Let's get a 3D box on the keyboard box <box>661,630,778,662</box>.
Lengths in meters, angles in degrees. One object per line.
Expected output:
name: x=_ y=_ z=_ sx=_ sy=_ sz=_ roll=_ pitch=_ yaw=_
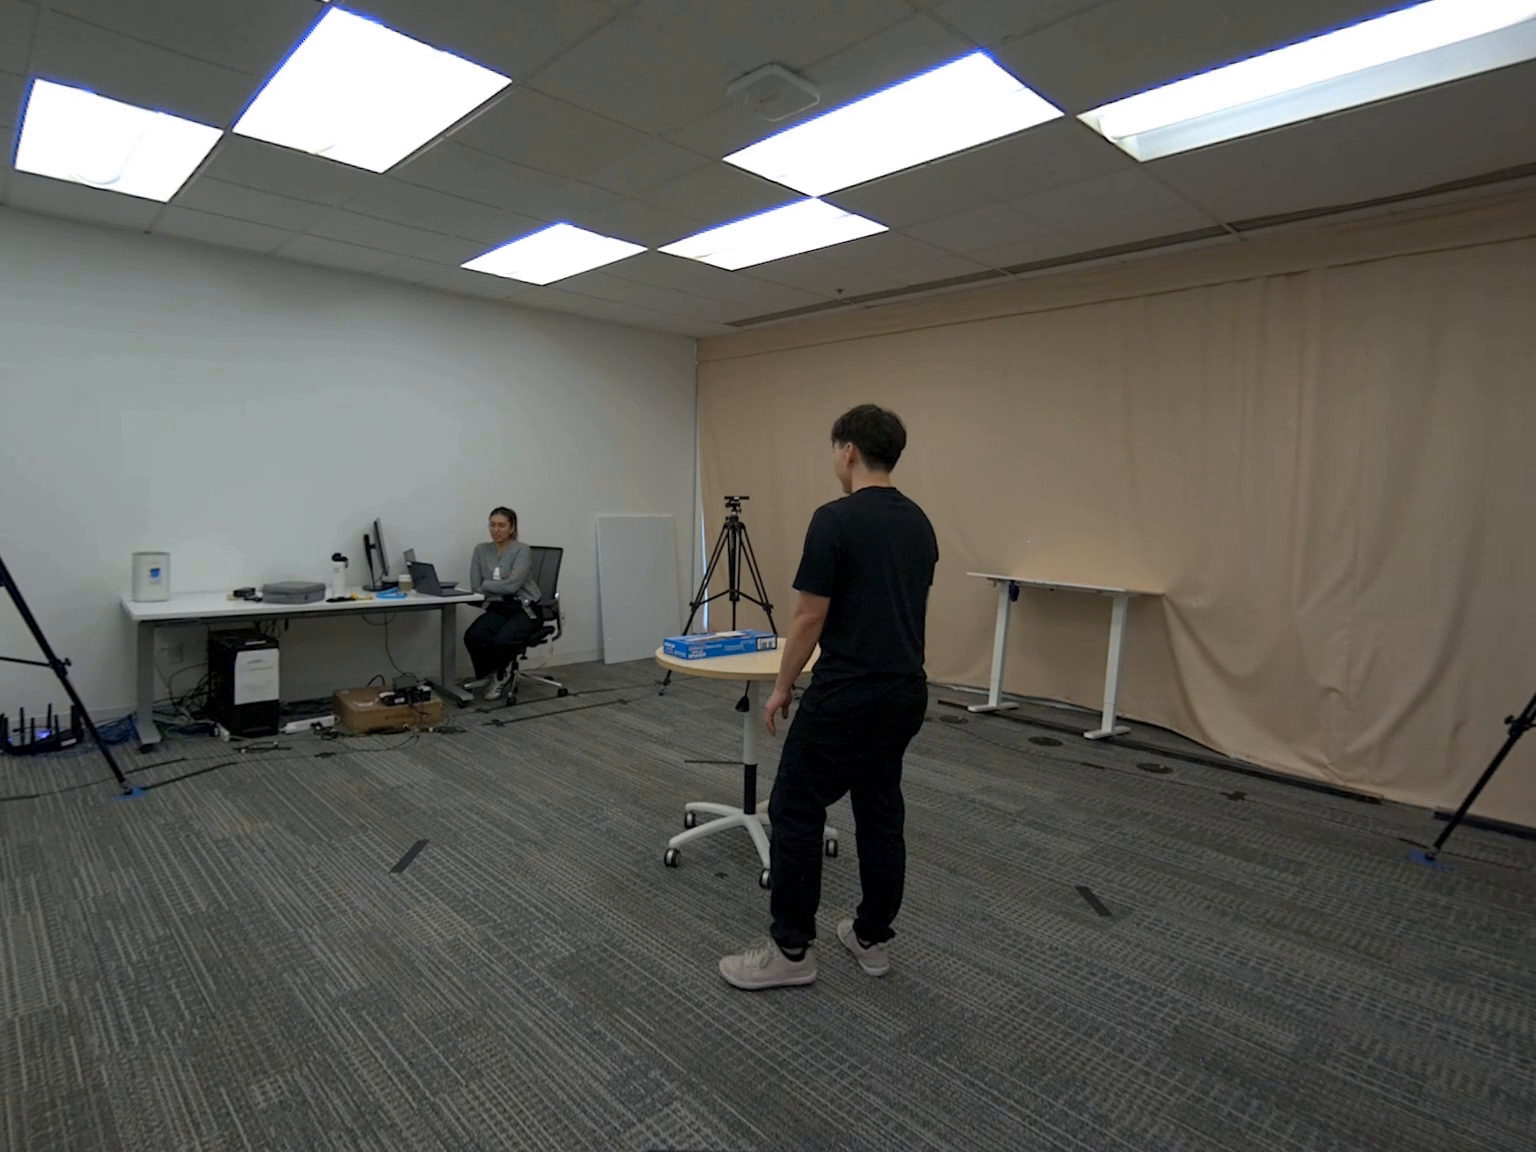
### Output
keyboard box: x=-0.189 y=0.271 z=3.342 sx=0.427 sy=0.059 sz=0.180 roll=-3 pitch=6 yaw=-38
